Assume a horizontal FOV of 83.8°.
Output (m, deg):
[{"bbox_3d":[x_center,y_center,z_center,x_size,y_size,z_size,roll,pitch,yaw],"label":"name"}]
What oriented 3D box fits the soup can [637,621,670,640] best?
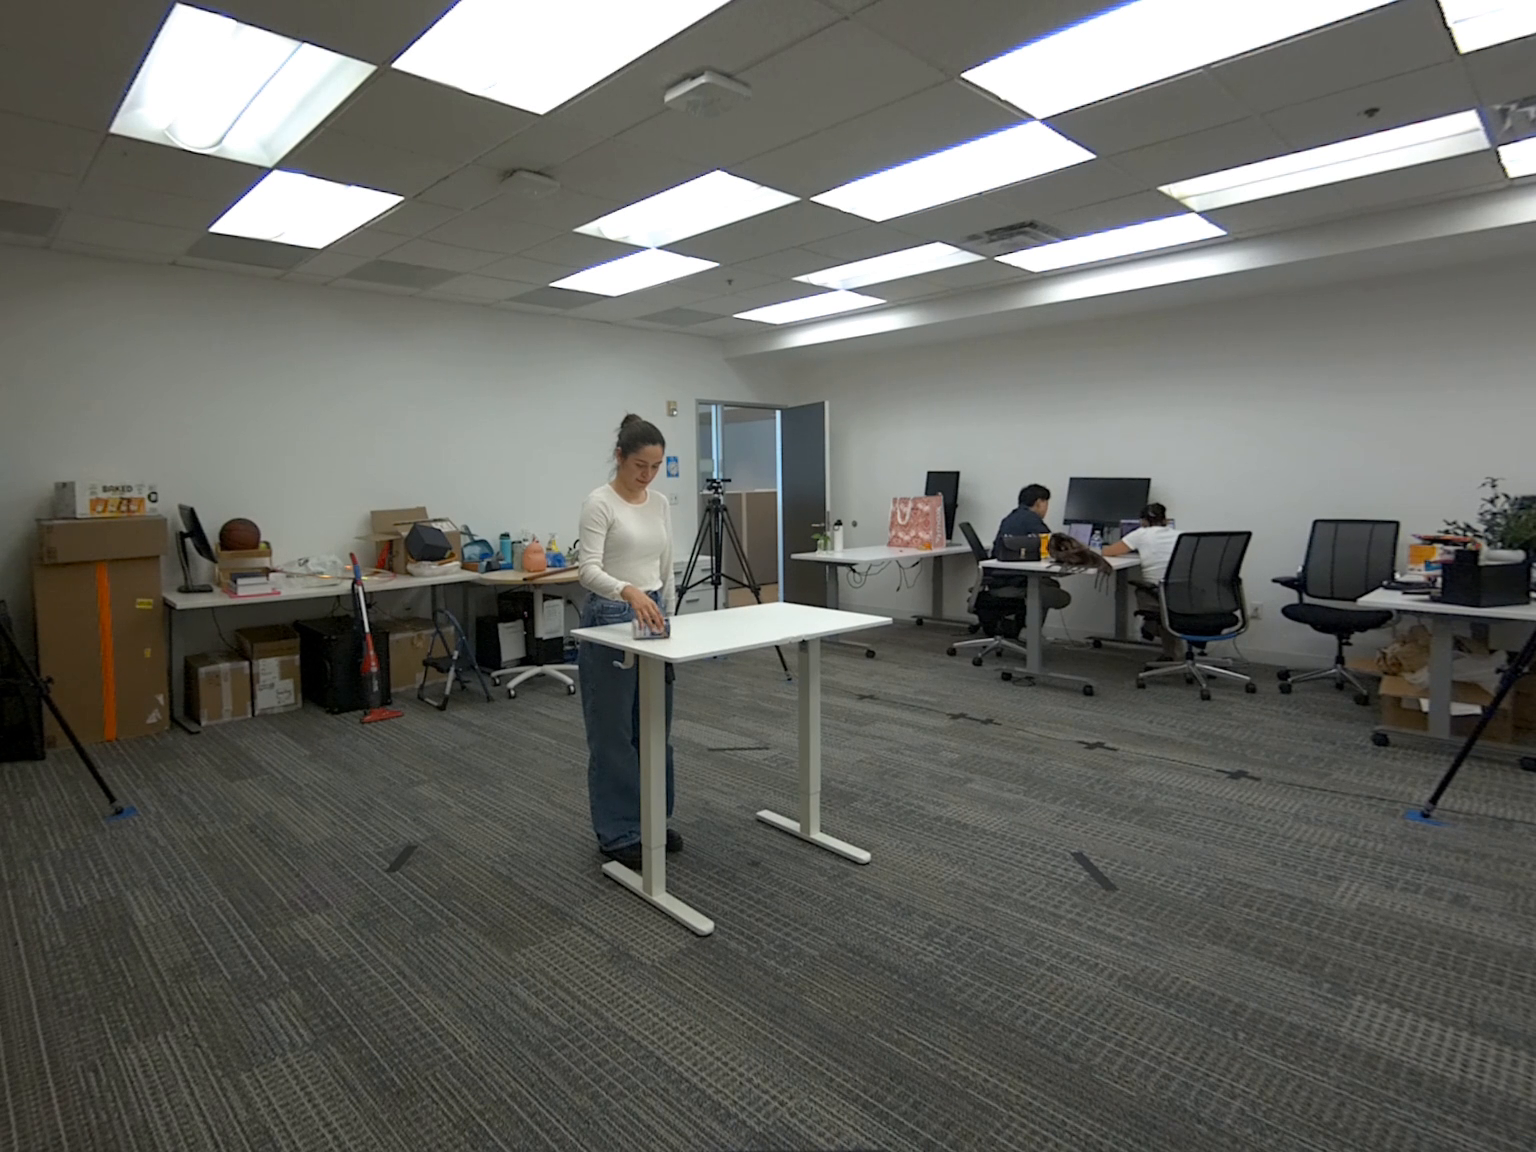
[{"bbox_3d":[-0.348,0.174,2.765,0.067,0.067,0.121,0,4,6],"label":"soup can"}]
